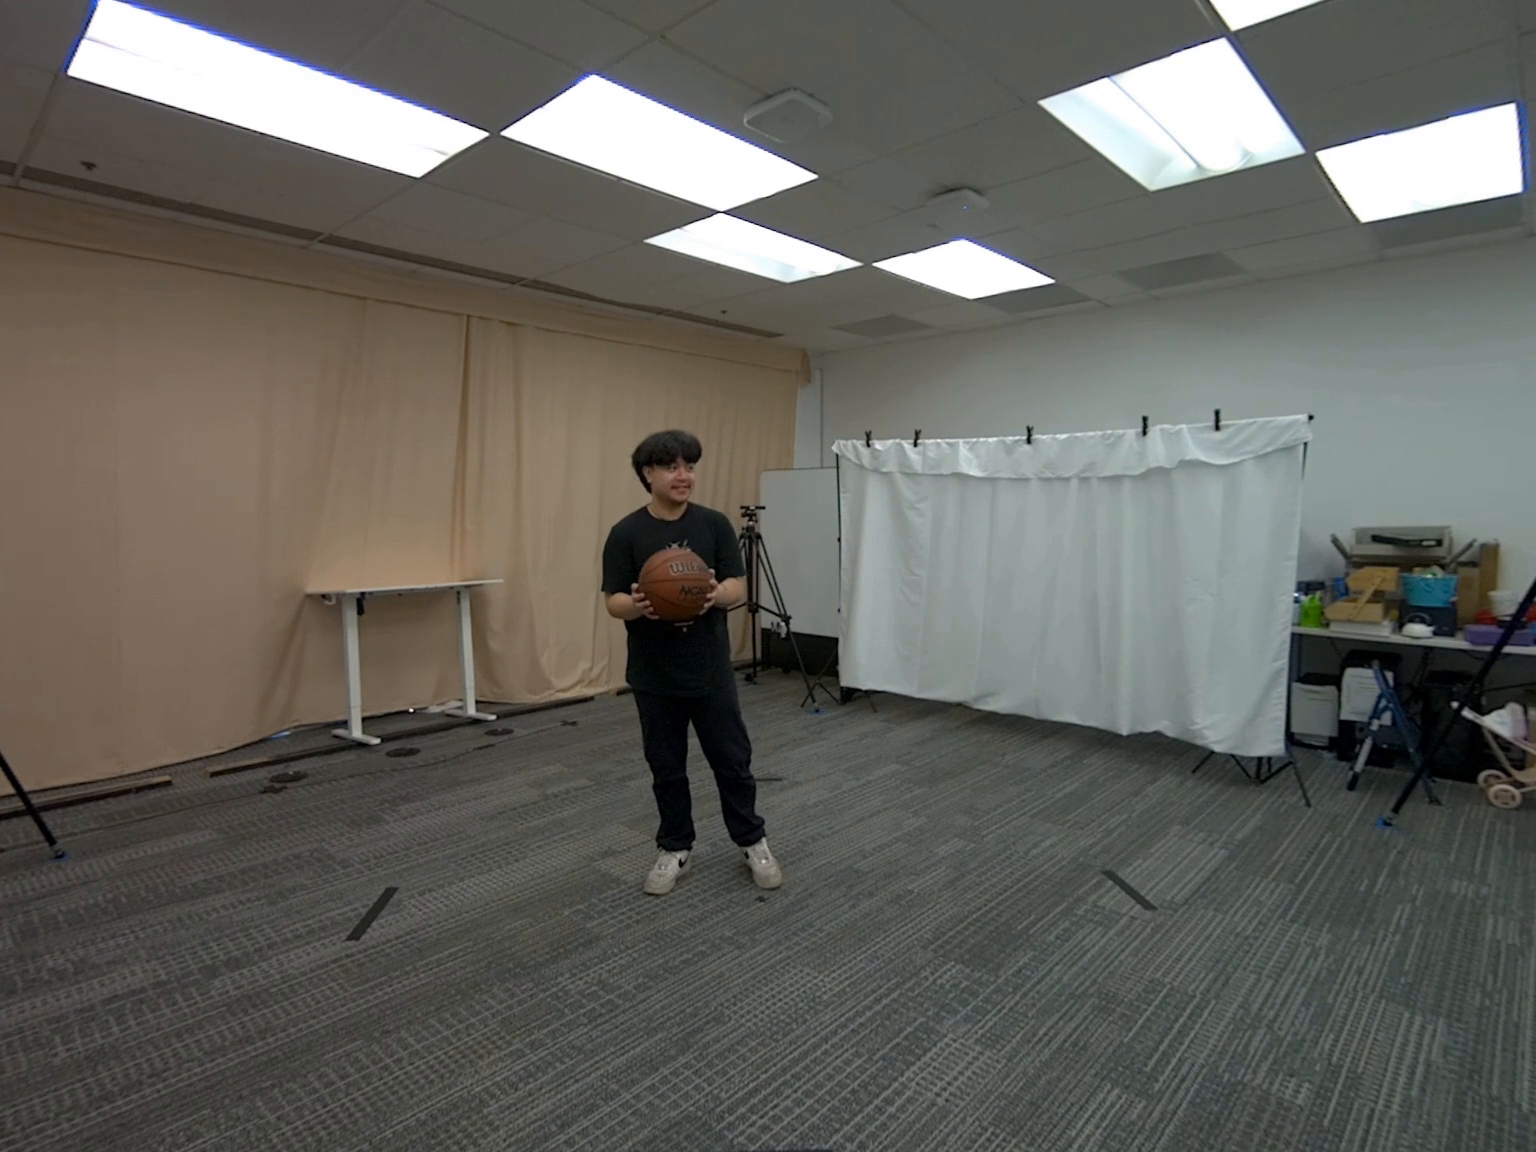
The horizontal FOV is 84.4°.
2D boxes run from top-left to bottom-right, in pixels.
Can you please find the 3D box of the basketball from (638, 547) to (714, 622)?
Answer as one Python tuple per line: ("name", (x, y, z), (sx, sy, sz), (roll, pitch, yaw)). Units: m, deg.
("basketball", (-0.295, 0.028, 2.742), (0.236, 0.235, 0.237), (0, 4, -2))
